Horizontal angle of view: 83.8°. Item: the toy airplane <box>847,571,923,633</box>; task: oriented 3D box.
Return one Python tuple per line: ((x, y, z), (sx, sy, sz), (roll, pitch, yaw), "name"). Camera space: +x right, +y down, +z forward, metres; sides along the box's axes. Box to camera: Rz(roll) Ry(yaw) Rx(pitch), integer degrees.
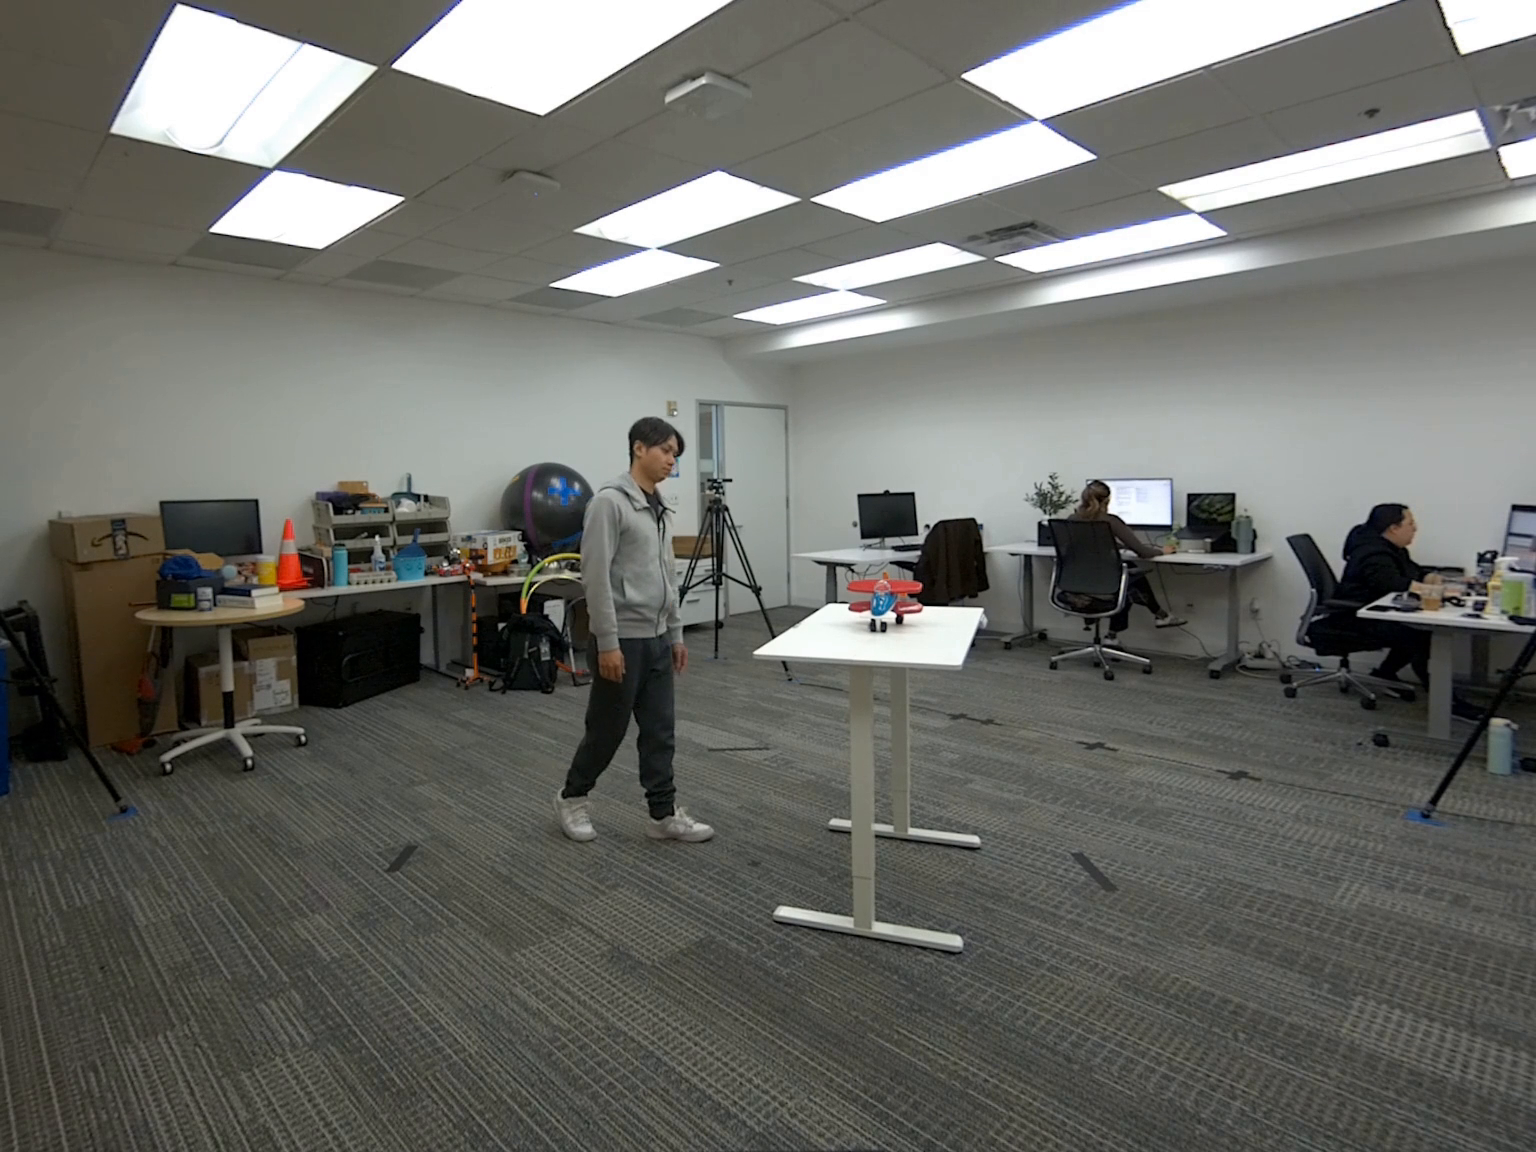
((0.414, 0.101, 2.913), (0.249, 0.156, 0.263), (-2, 6, -10), "toy airplane")
